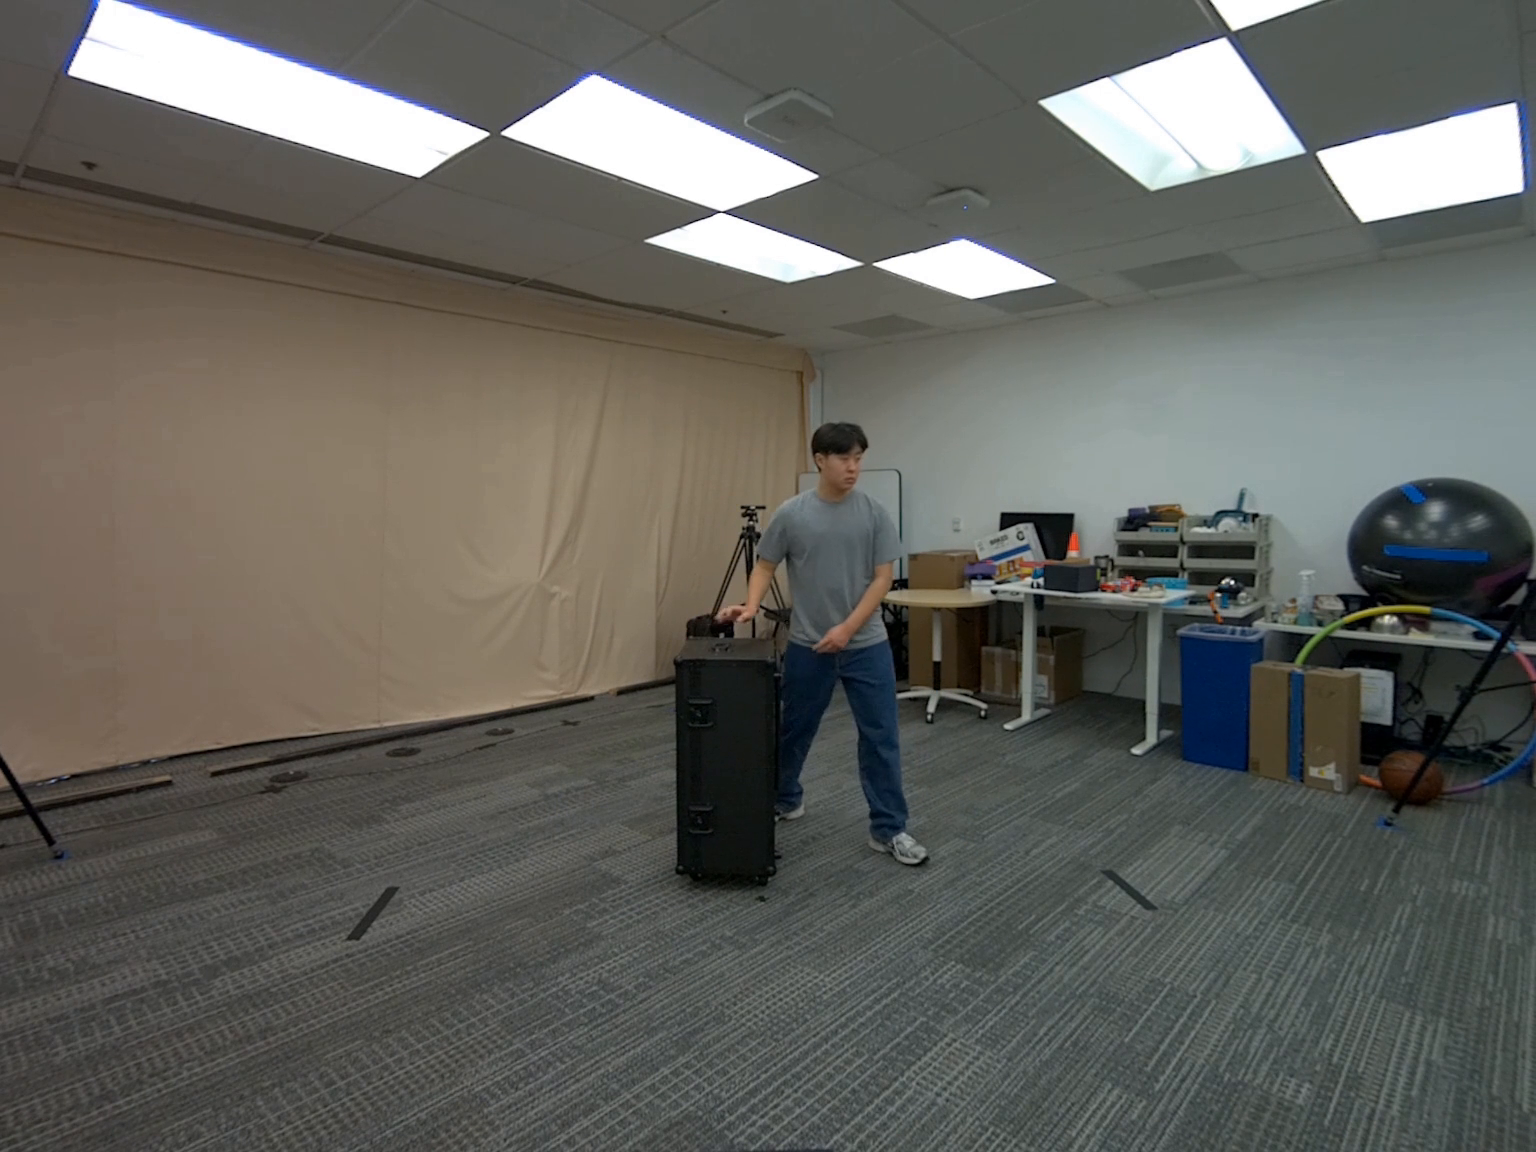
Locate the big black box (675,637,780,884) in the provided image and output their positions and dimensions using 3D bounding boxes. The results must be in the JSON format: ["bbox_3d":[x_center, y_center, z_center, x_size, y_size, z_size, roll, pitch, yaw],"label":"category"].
[{"bbox_3d":[-0.148,0.697,3.231,0.398,0.860,0.520,0,3,2],"label":"big black box"}]
